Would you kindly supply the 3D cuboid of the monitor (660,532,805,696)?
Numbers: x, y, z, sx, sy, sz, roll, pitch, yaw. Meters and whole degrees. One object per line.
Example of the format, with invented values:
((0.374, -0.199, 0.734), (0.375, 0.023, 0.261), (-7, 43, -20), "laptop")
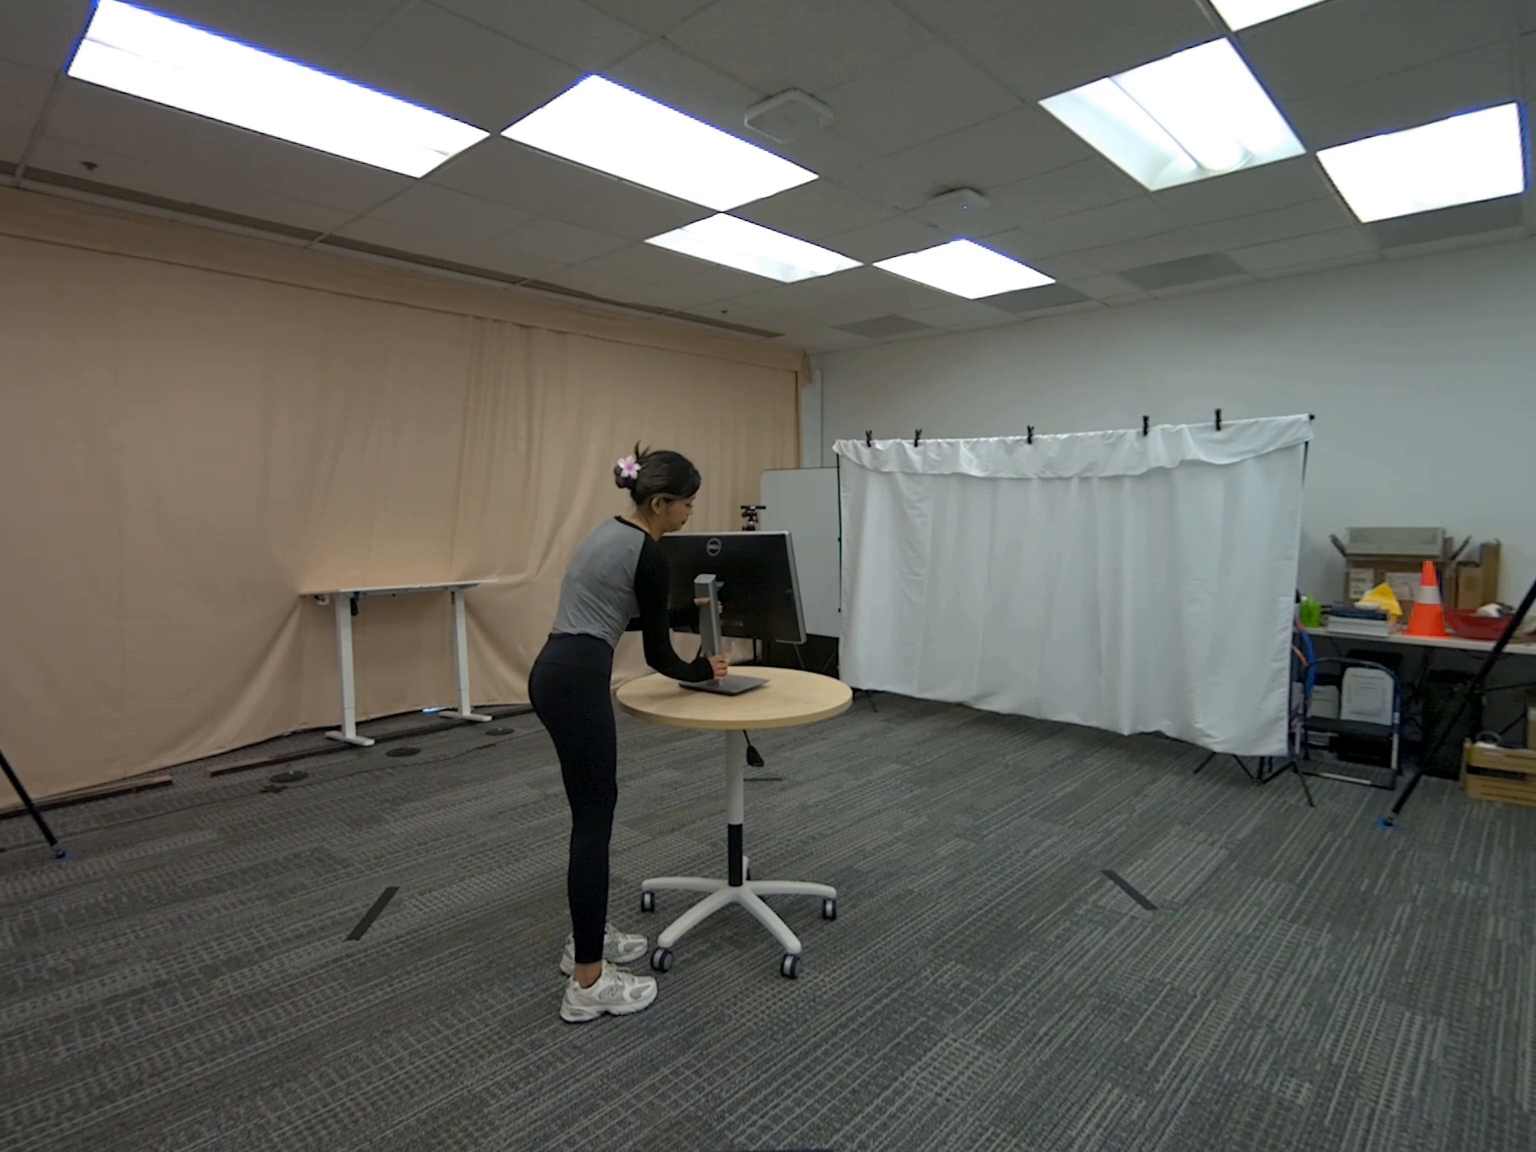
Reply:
((-0.154, 0.117, 2.774), (0.556, 0.522, 0.181), (1, 3, 36), "monitor")
